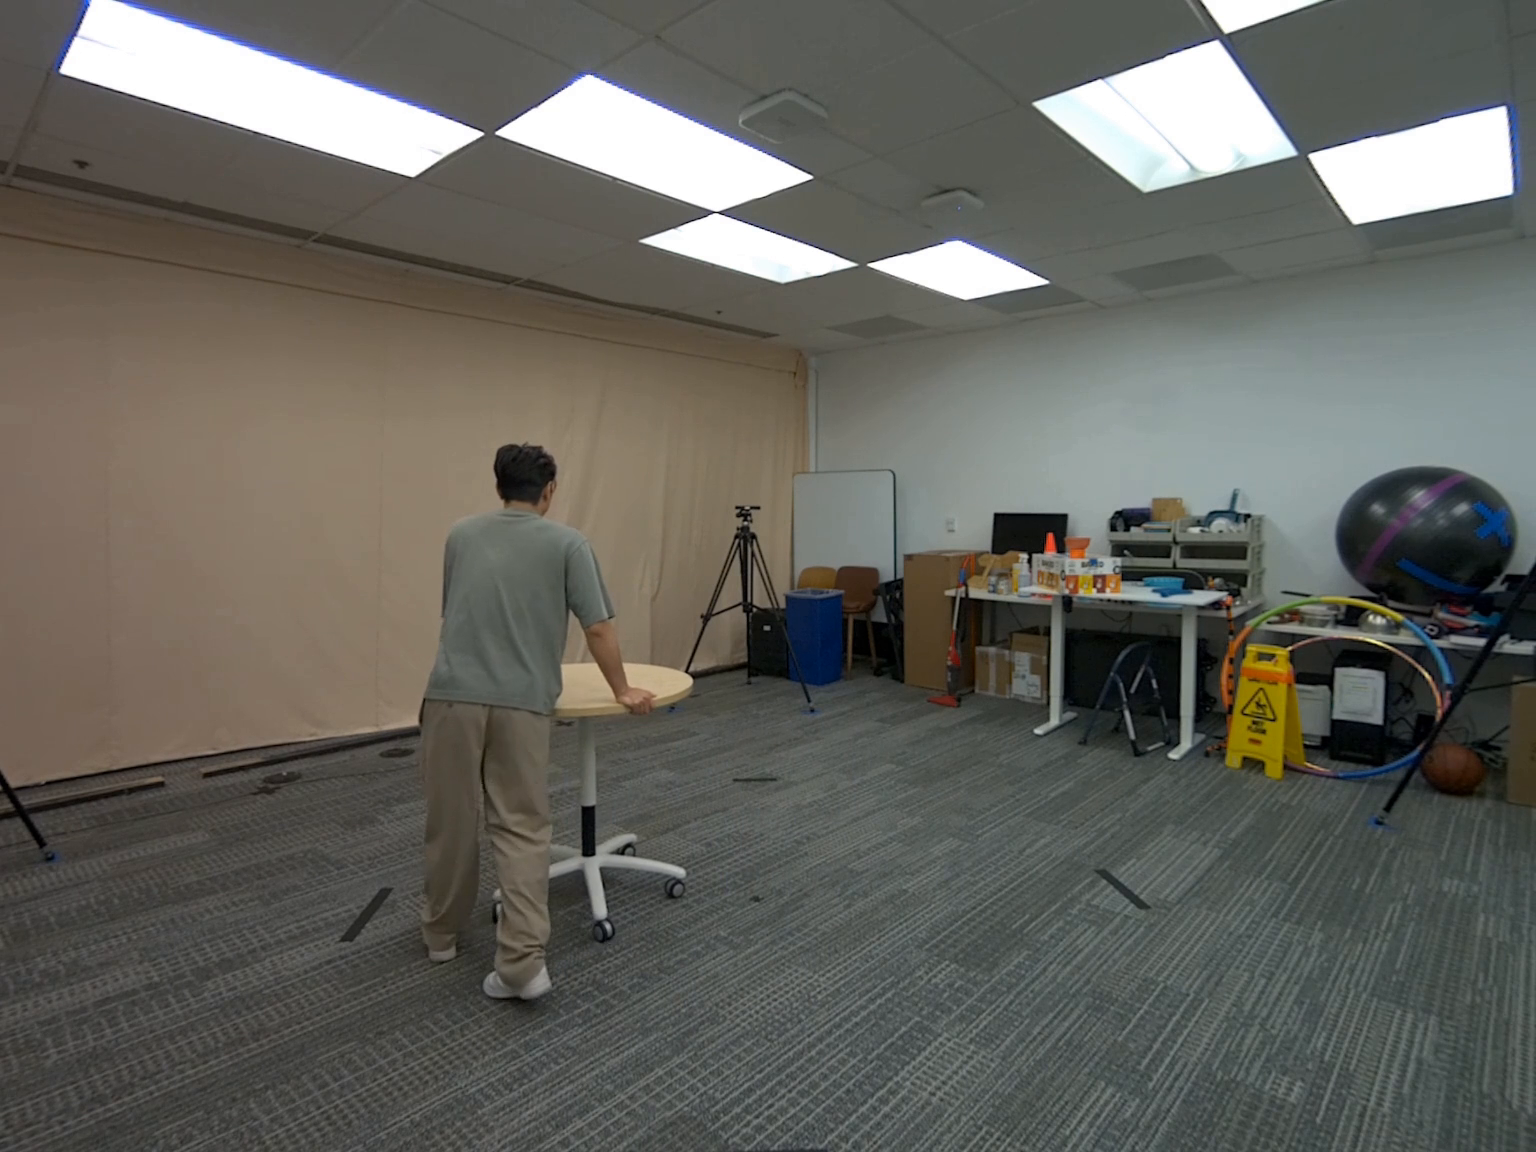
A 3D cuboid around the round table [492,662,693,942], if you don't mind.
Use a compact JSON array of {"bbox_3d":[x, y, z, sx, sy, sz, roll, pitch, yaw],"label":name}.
[{"bbox_3d":[-0.625,0.765,3.017,0.784,0.784,0.788,-1,4,-2],"label":"round table"}]
